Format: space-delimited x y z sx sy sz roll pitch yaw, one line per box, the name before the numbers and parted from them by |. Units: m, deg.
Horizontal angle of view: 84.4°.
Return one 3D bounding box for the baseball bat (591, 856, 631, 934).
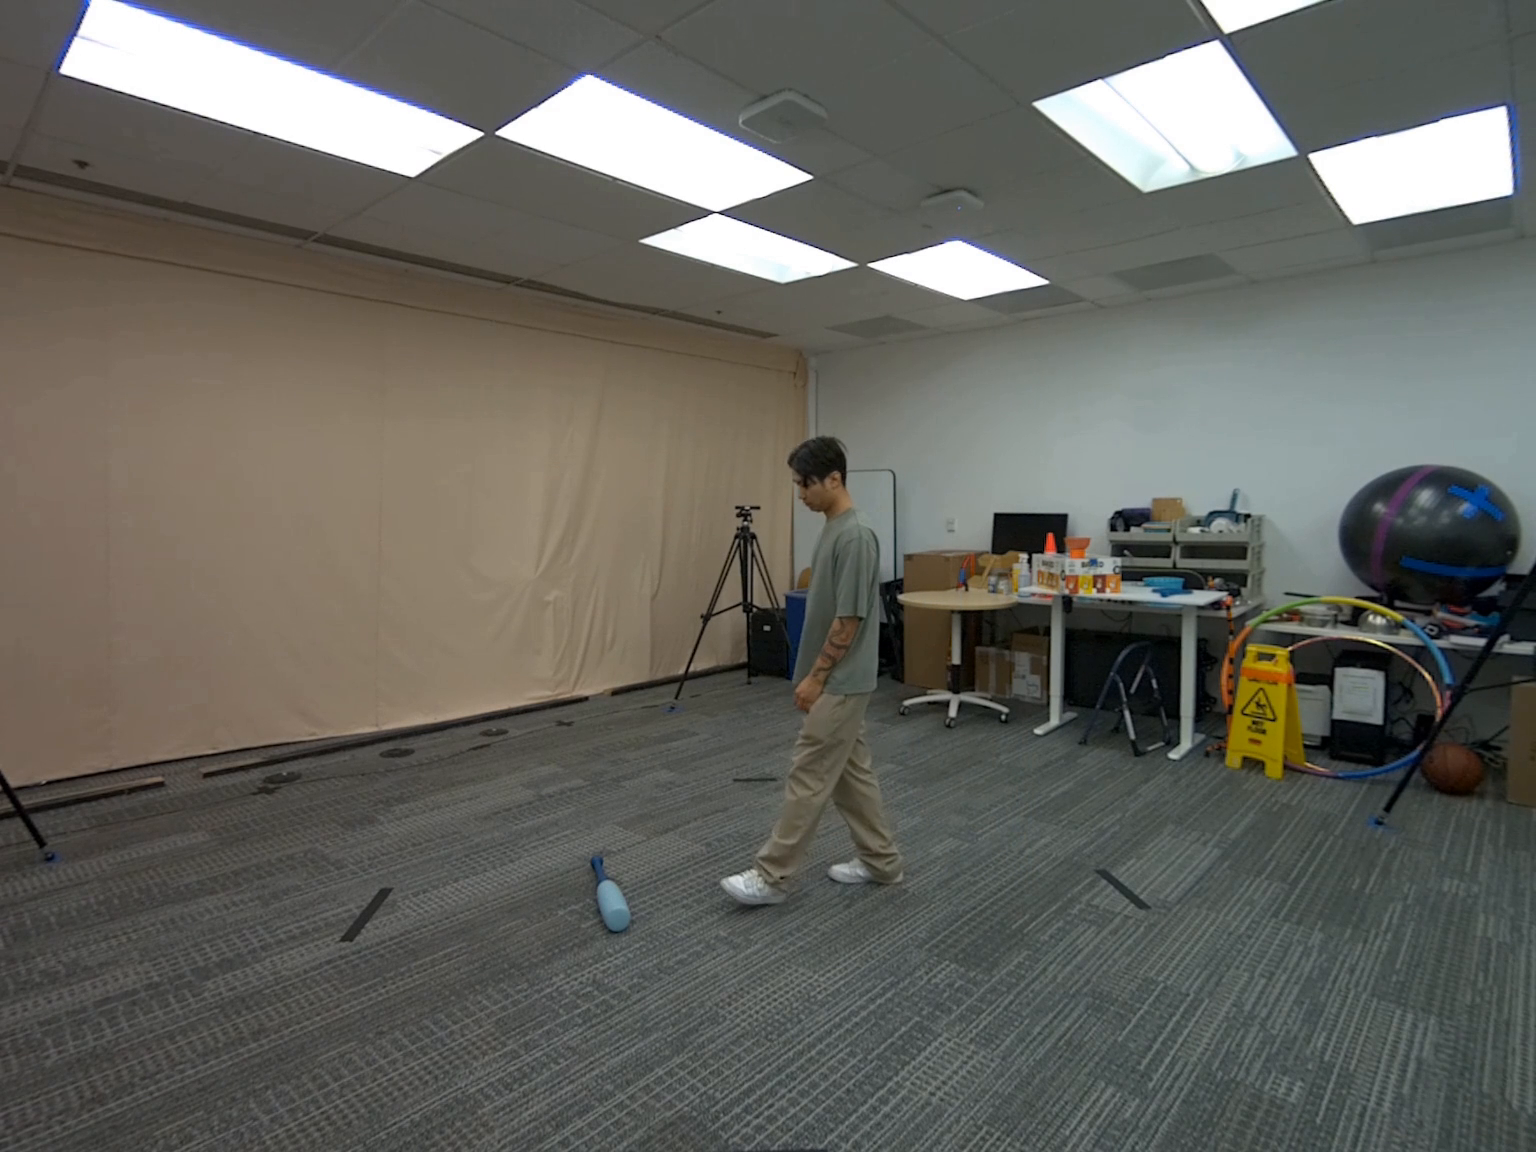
baseball bat | -0.571 1.112 2.994 0.087 0.089 0.553 -1 3 -18
